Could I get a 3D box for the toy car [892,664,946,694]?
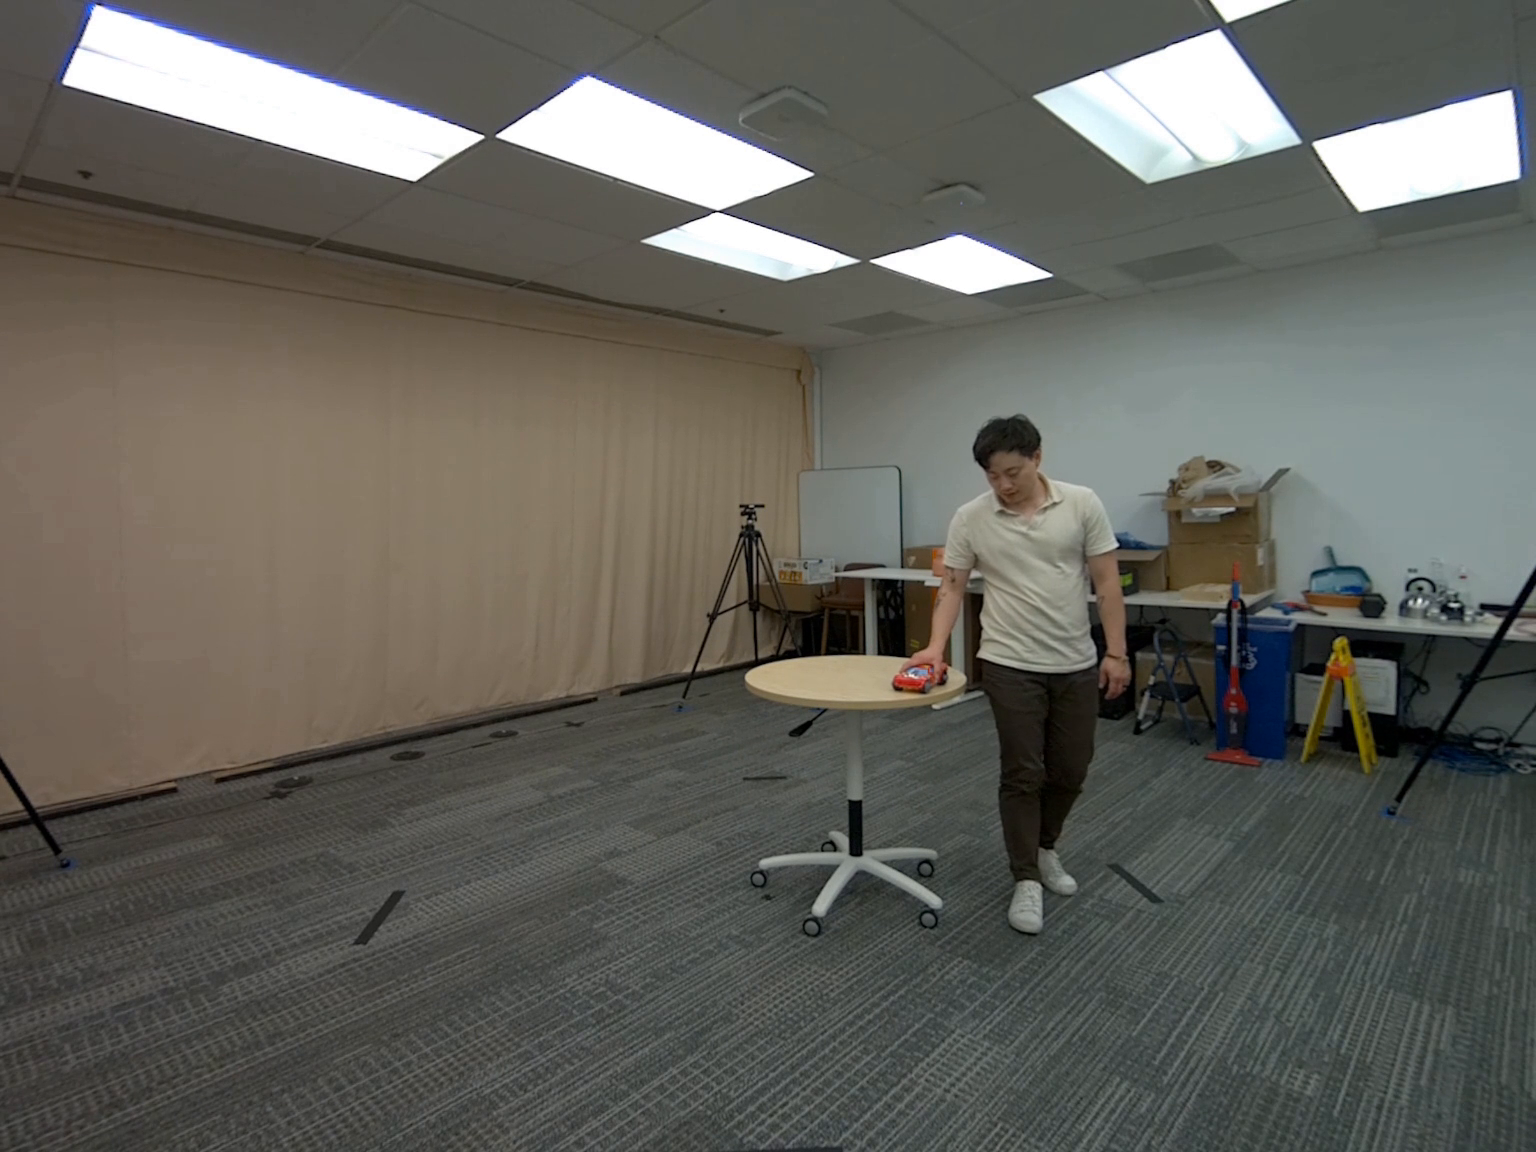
[{"bbox_3d":[0.518,0.333,2.766,0.134,0.082,0.249,1,17,35],"label":"toy car"}]
